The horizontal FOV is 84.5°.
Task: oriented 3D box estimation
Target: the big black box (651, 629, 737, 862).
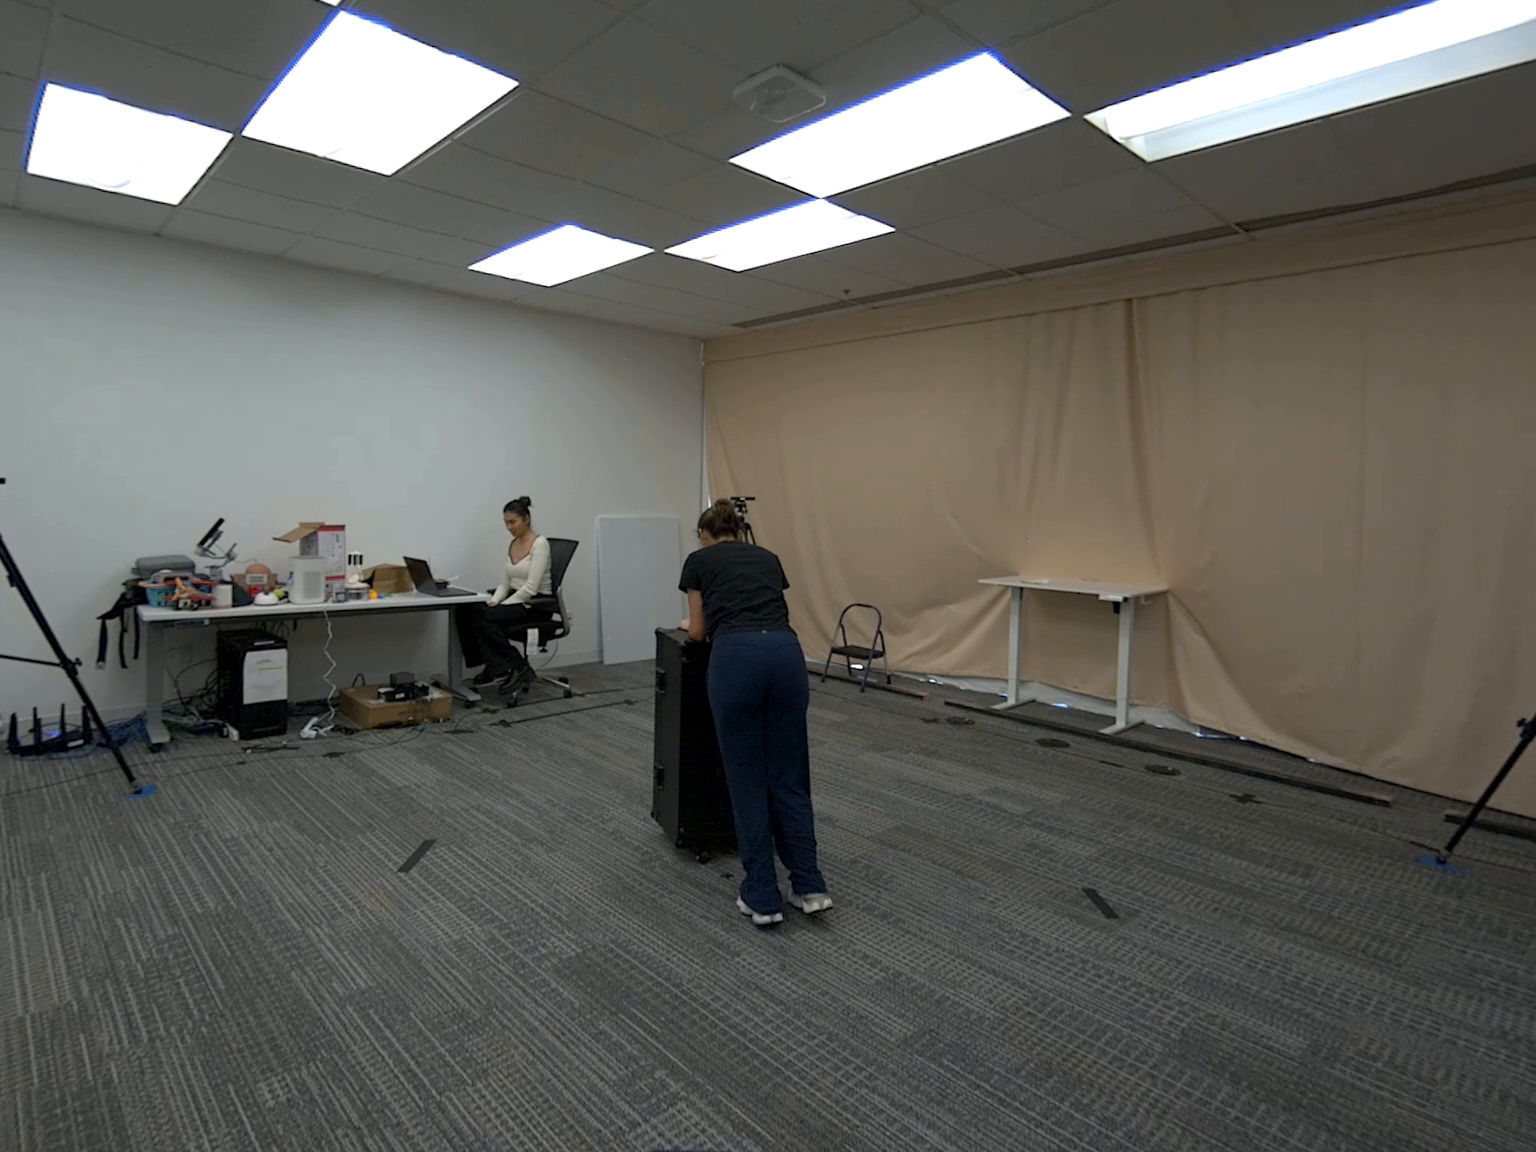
[{"bbox_3d":[-0.180,0.598,3.364,0.512,0.860,0.403,0,3,-23],"label":"big black box"}]
